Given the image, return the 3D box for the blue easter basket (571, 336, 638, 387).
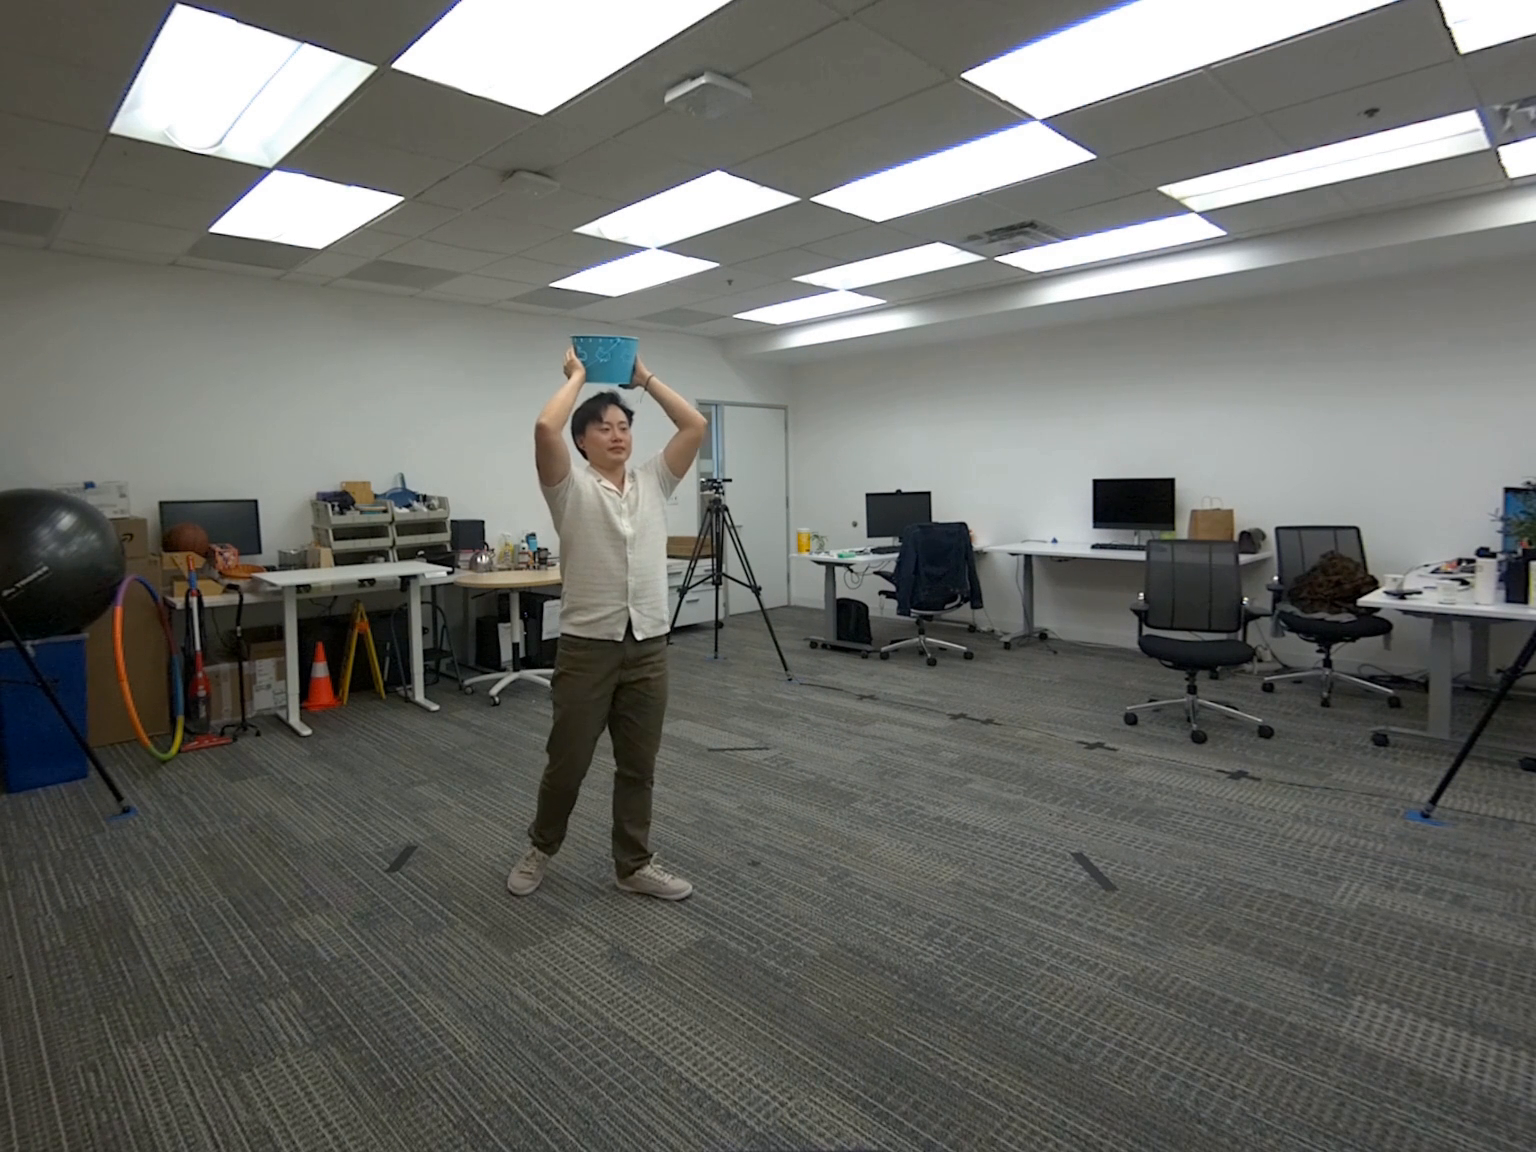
[{"bbox_3d":[-0.565,-0.721,2.864,0.243,0.154,0.246,1,11,-2],"label":"blue easter basket"}]
